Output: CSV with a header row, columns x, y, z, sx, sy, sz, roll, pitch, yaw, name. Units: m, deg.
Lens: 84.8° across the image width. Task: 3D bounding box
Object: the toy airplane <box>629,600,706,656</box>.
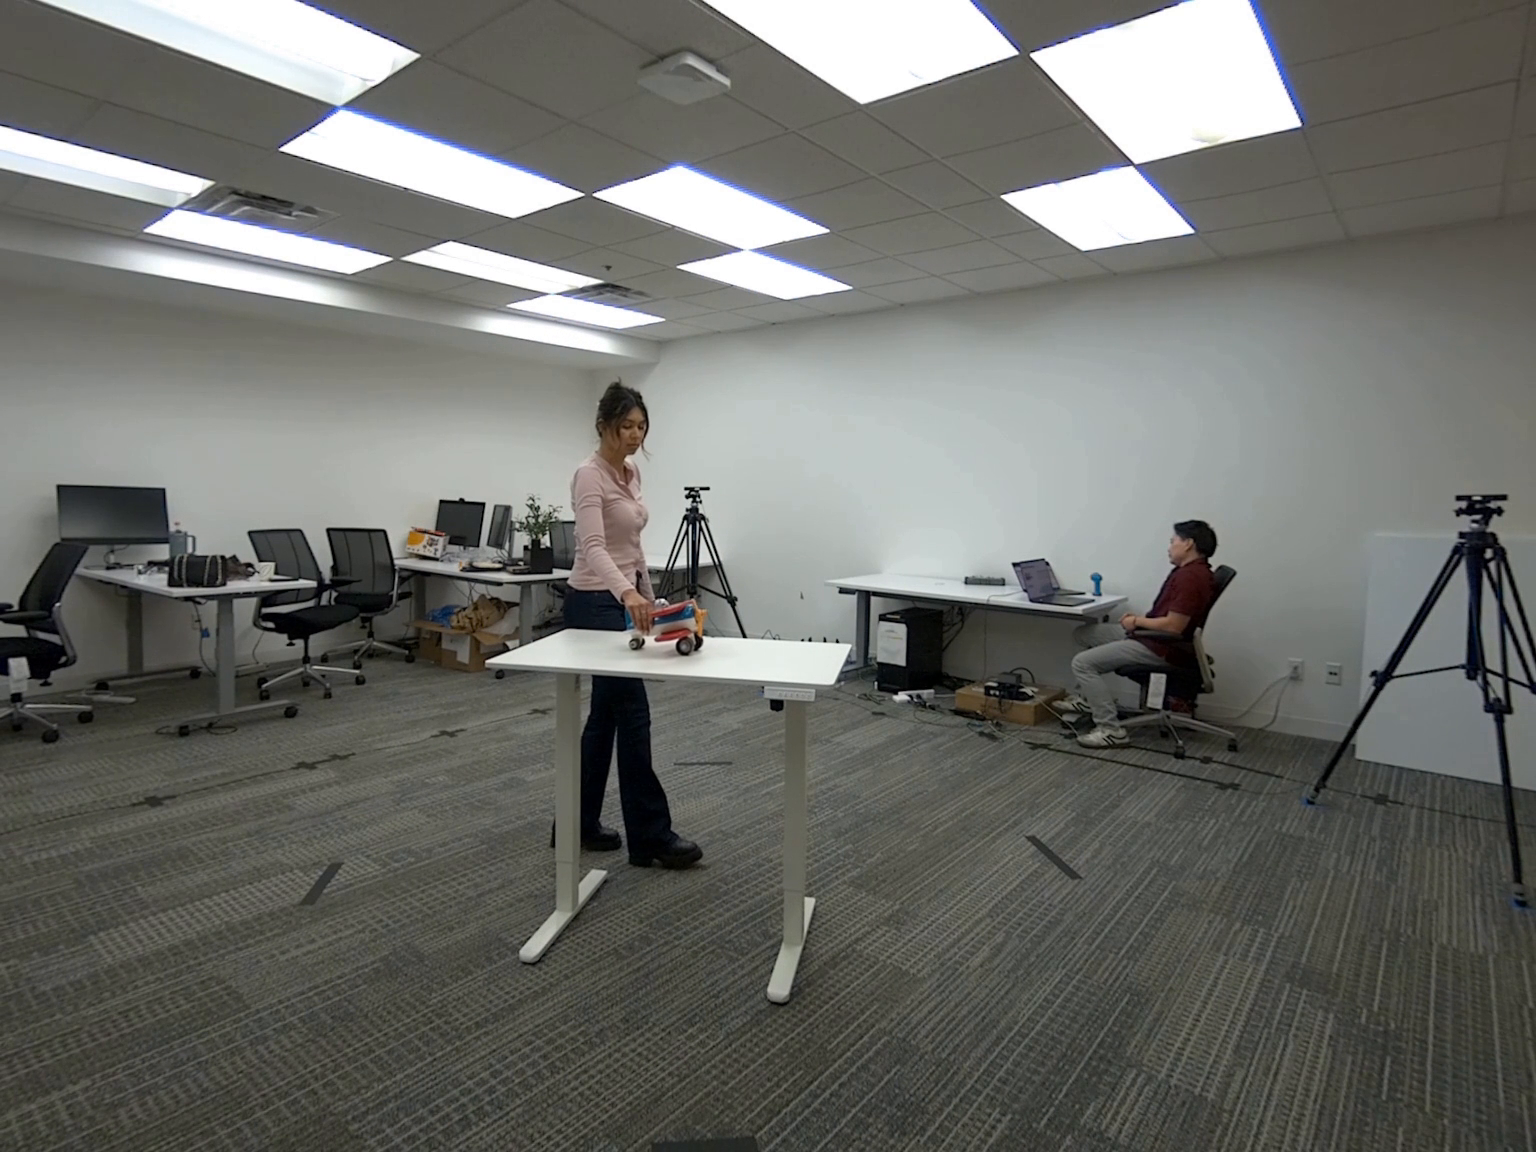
x,y,z,sx,sy,sz,roll,pitch,yaw,name
-0.336,0.157,2.620,0.256,0.156,0.255,0,4,-13,toy airplane
